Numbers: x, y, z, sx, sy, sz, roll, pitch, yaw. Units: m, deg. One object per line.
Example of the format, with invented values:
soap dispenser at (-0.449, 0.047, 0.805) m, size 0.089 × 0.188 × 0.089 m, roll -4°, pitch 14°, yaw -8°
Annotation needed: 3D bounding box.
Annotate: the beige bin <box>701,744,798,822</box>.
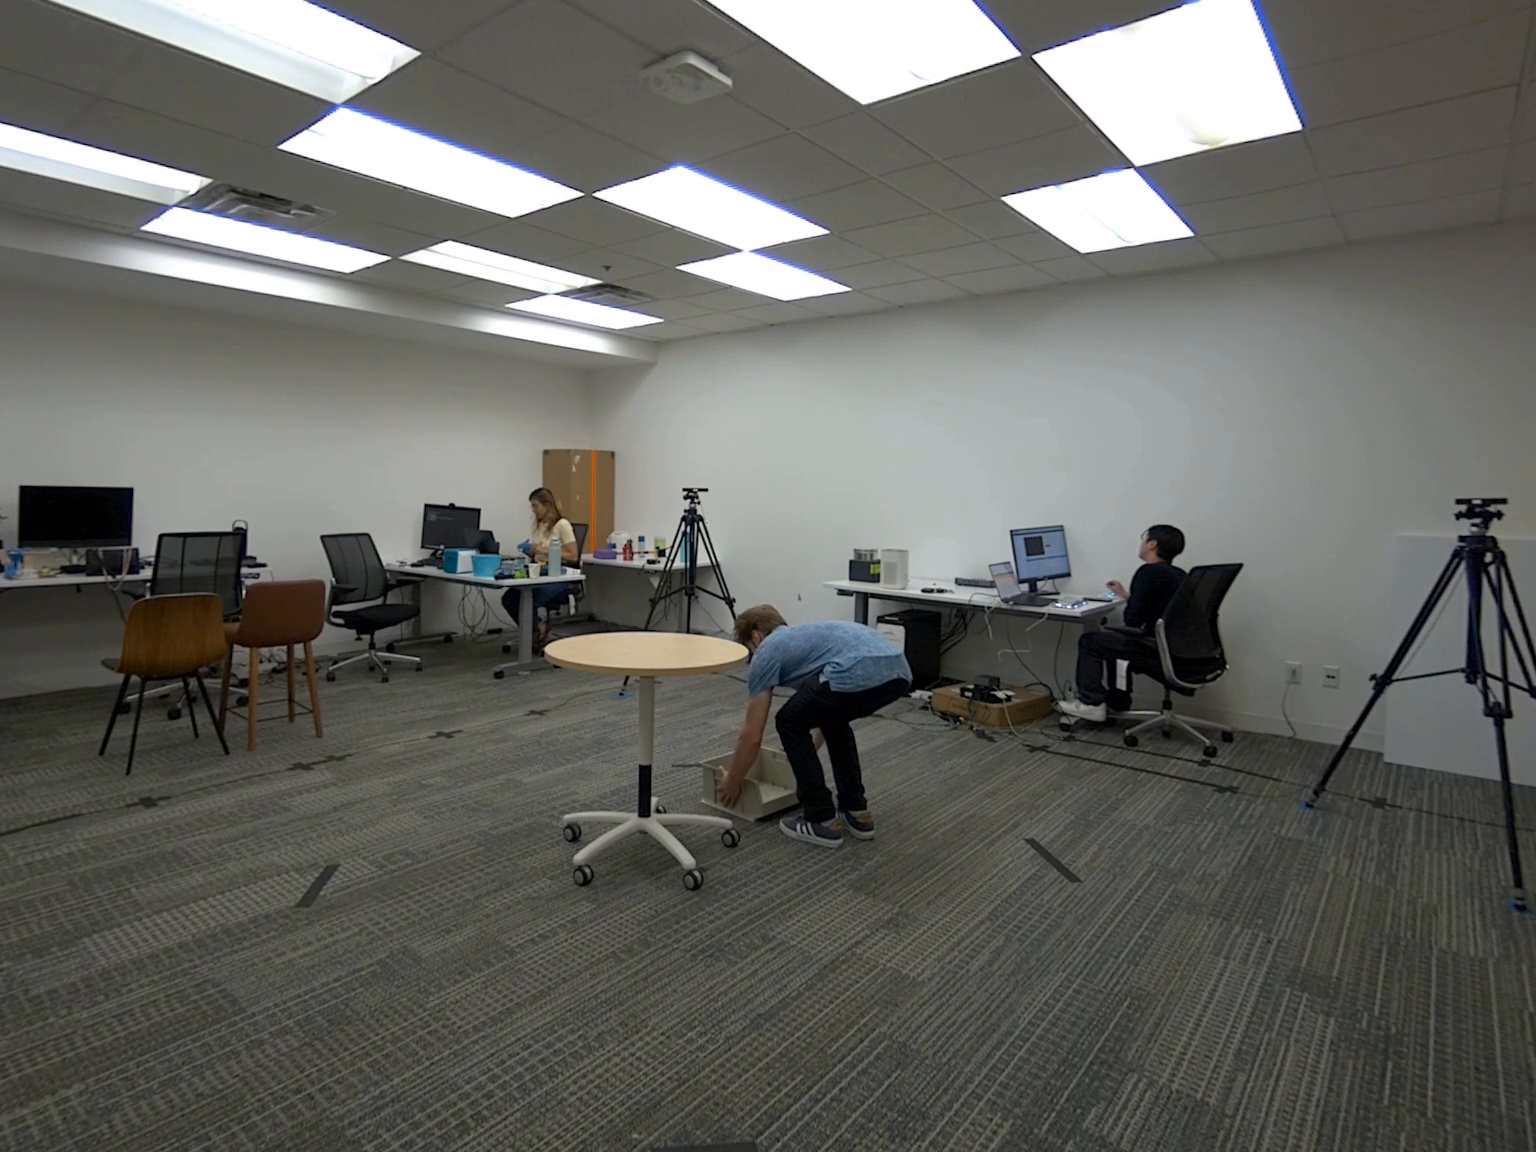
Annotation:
beige bin at (-0.042, 0.920, 3.803) m, size 0.390 × 0.188 × 0.410 m, roll 4°, pitch 6°, yaw 42°
